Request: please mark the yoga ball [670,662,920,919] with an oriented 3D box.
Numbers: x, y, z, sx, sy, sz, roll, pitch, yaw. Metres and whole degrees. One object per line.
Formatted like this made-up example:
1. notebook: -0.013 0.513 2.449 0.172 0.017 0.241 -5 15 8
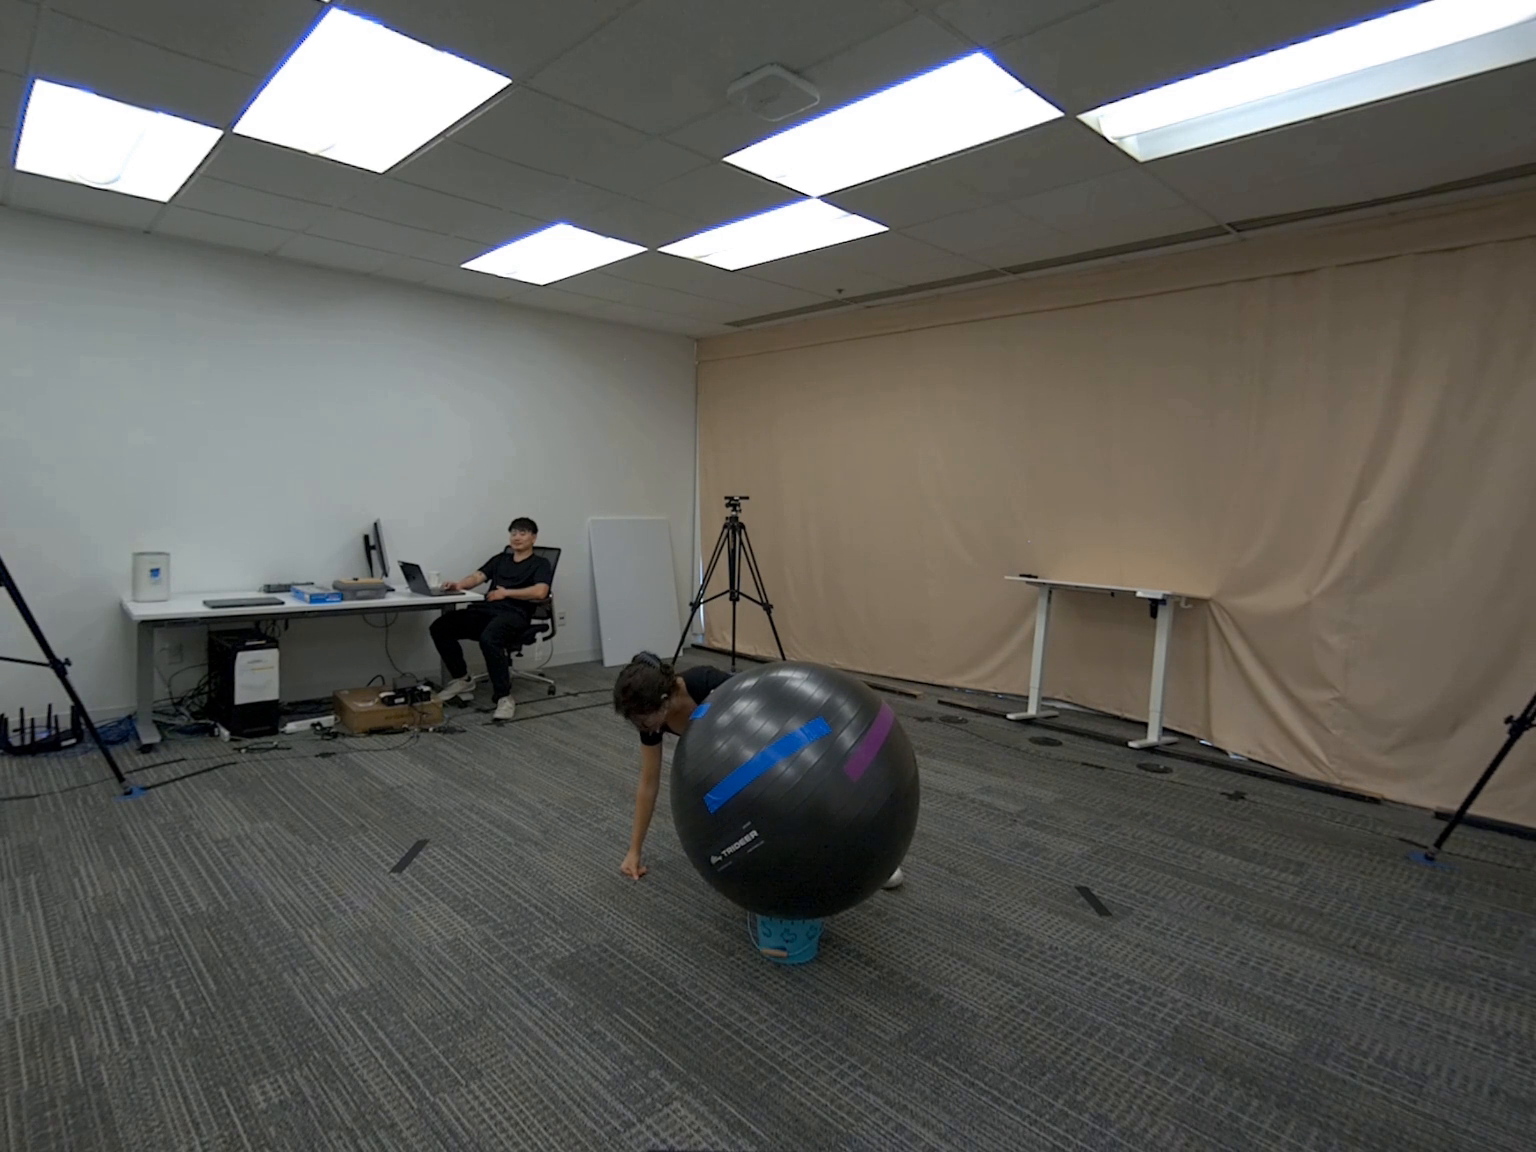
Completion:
1. yoga ball: 0.079 0.647 2.573 0.757 0.756 0.761 1 4 -1
